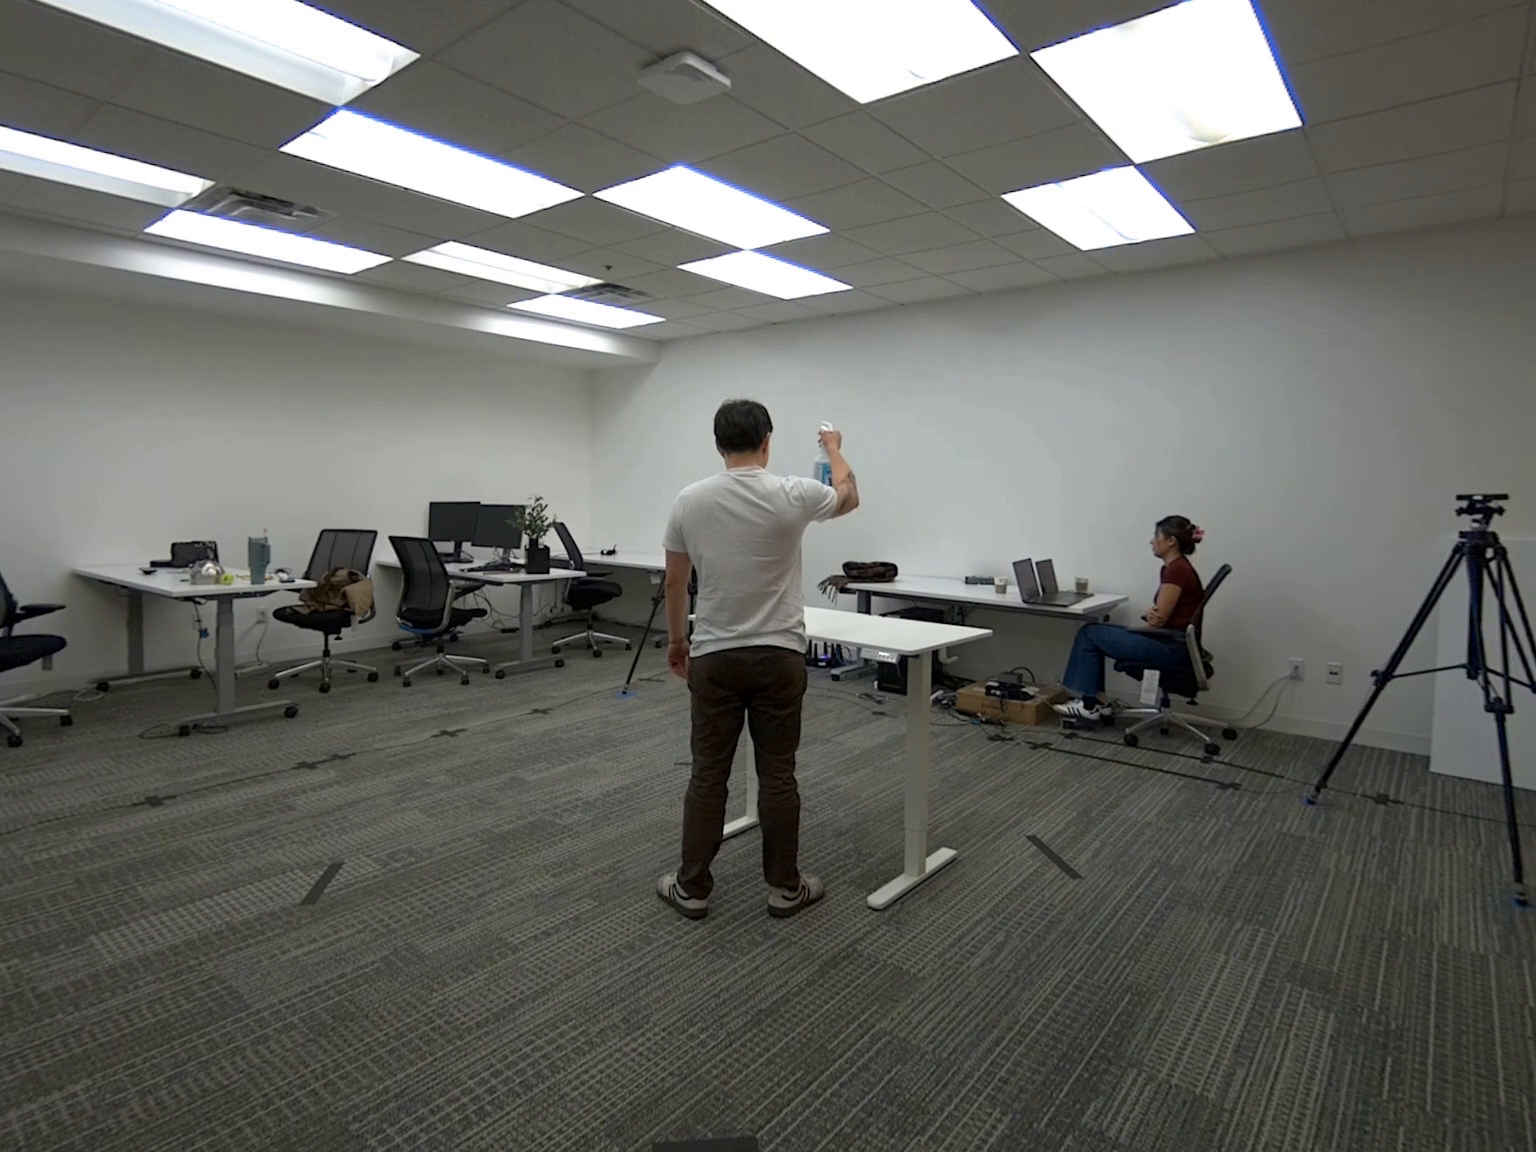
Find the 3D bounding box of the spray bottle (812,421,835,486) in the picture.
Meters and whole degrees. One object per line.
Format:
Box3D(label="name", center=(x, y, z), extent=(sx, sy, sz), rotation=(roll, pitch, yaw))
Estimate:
Box3D(label="spray bottle", center=(0.207, -0.431, 3.169), extent=(0.088, 0.295, 0.089), rotation=(4, 8, 10))
